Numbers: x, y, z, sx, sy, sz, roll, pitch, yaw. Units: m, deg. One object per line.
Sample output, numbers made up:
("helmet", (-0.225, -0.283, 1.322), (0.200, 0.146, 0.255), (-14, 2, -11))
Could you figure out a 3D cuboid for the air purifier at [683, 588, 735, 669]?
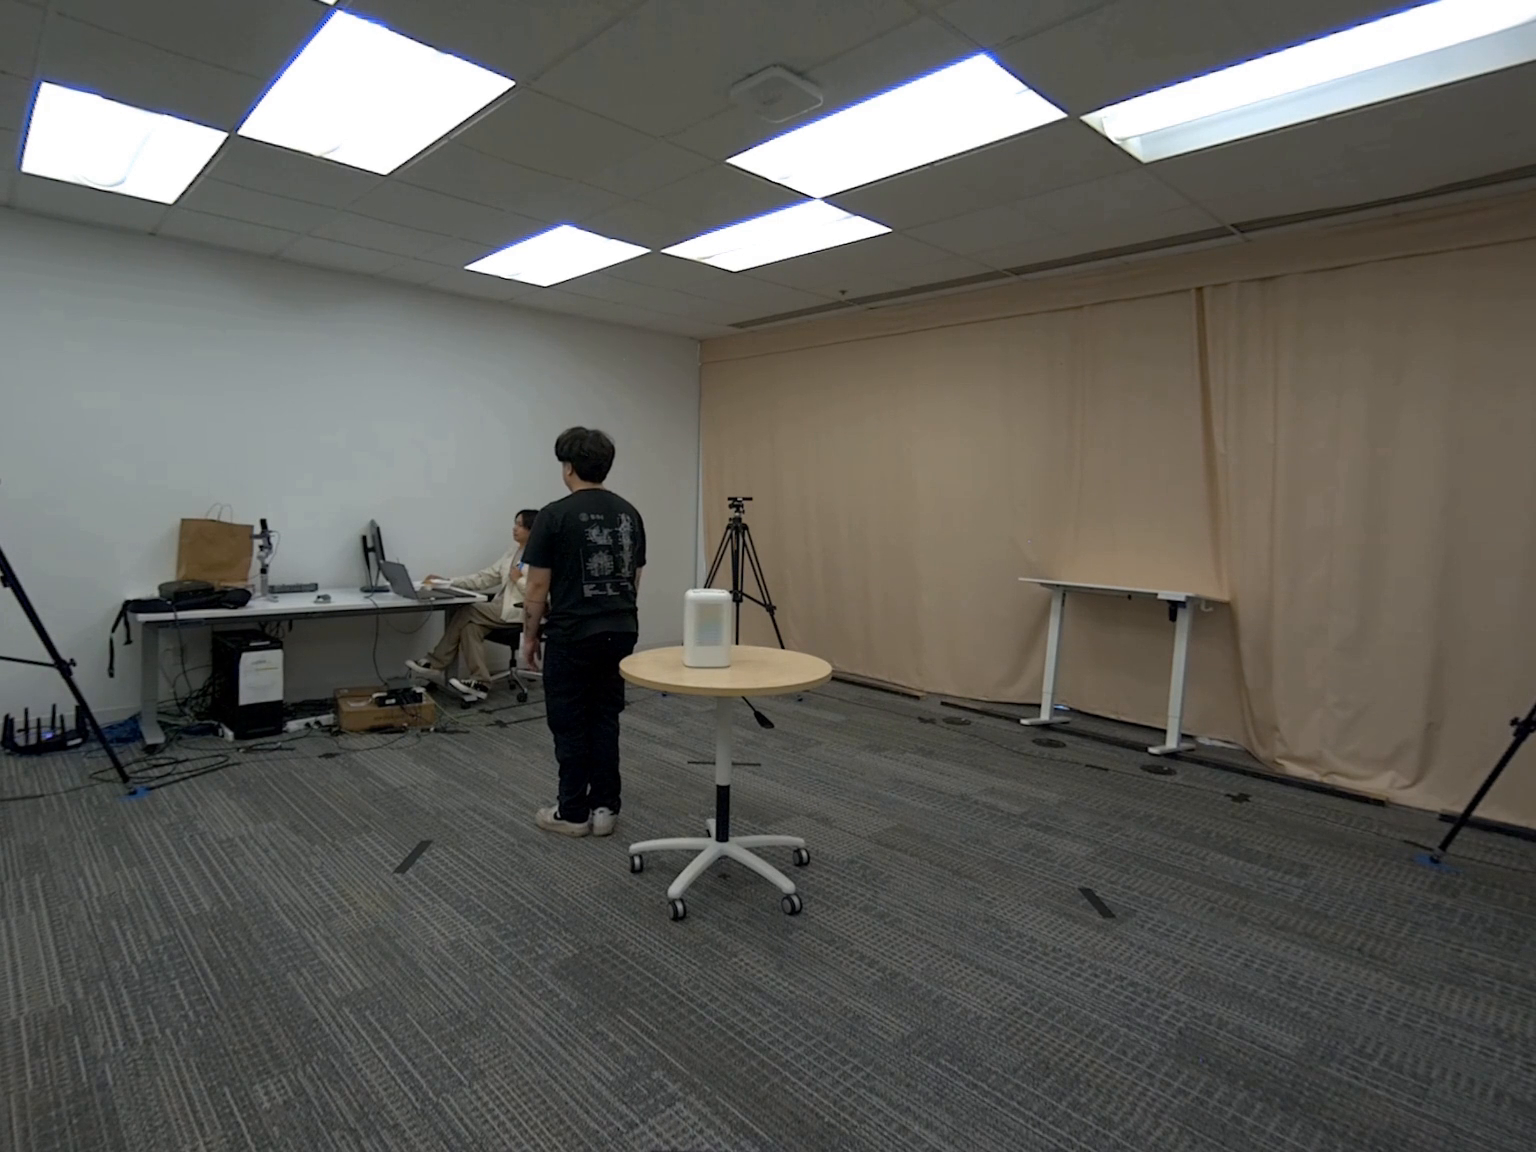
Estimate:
("air purifier", (-0.222, 0.187, 3.045), (0.171, 0.265, 0.172), (0, 4, -5))
